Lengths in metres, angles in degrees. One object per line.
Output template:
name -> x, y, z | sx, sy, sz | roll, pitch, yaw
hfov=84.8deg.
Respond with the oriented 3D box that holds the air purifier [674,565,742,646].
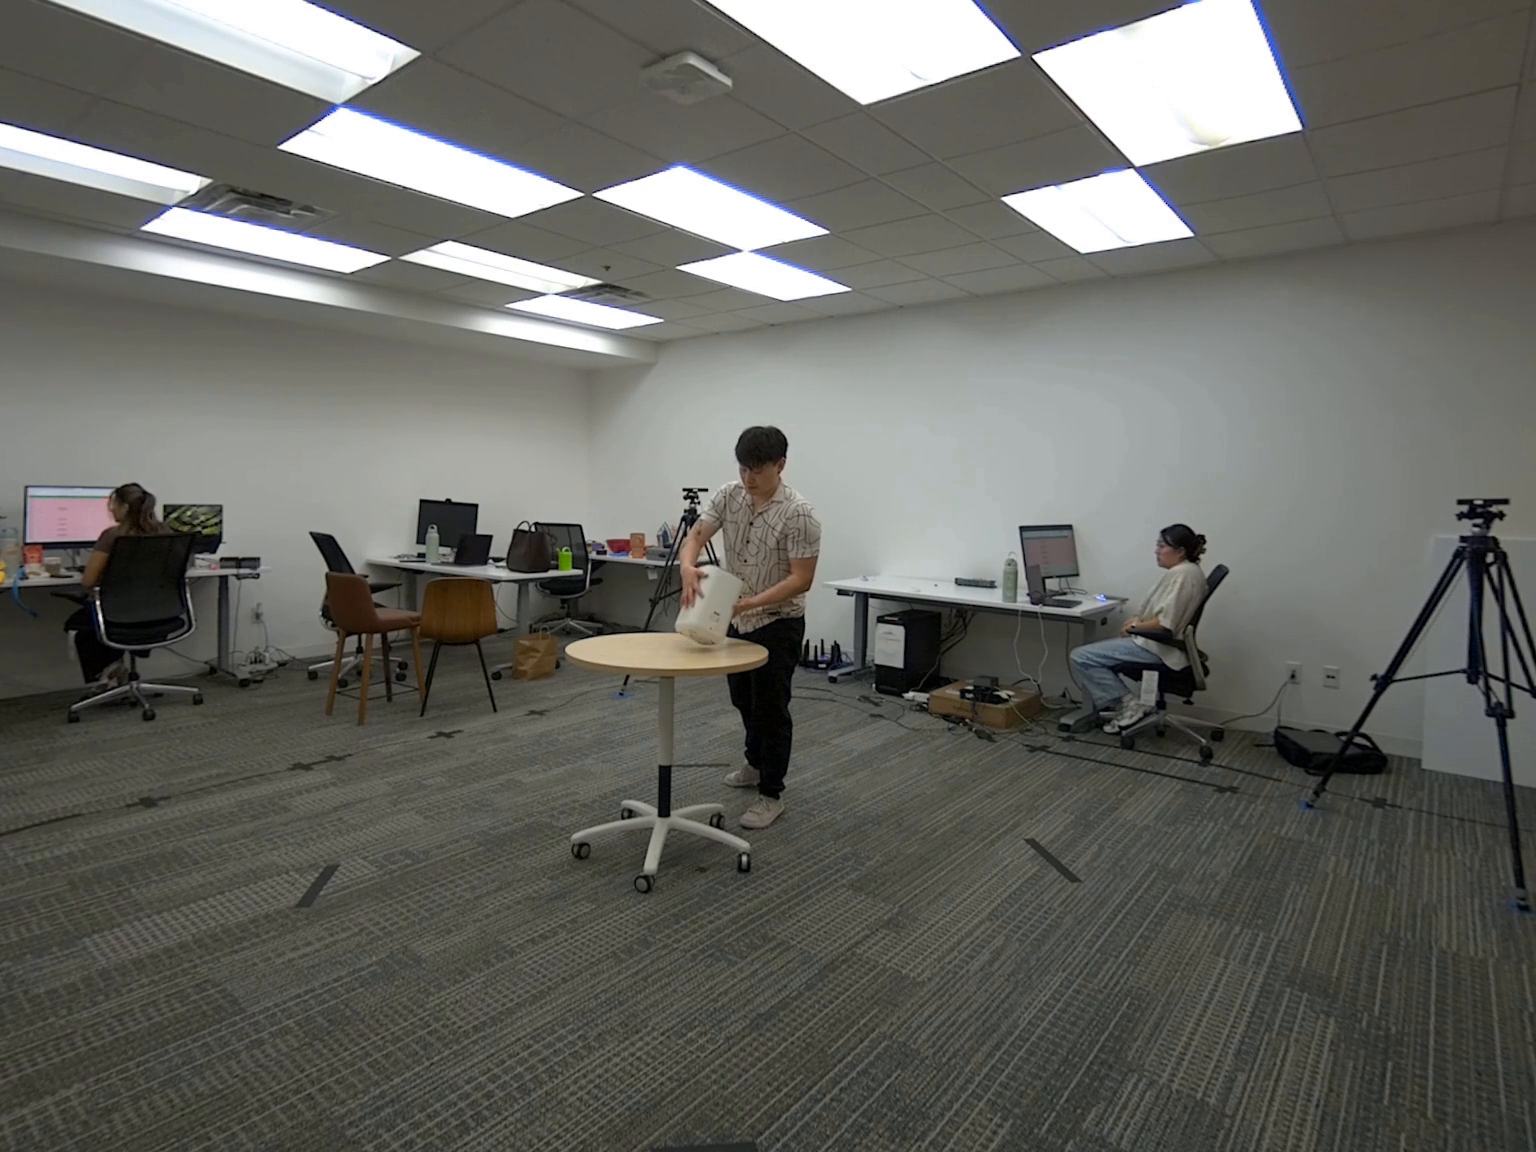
air purifier -> -0.235, 0.109, 3.243 | 0.166, 0.268, 0.175 | 30, -21, -26
